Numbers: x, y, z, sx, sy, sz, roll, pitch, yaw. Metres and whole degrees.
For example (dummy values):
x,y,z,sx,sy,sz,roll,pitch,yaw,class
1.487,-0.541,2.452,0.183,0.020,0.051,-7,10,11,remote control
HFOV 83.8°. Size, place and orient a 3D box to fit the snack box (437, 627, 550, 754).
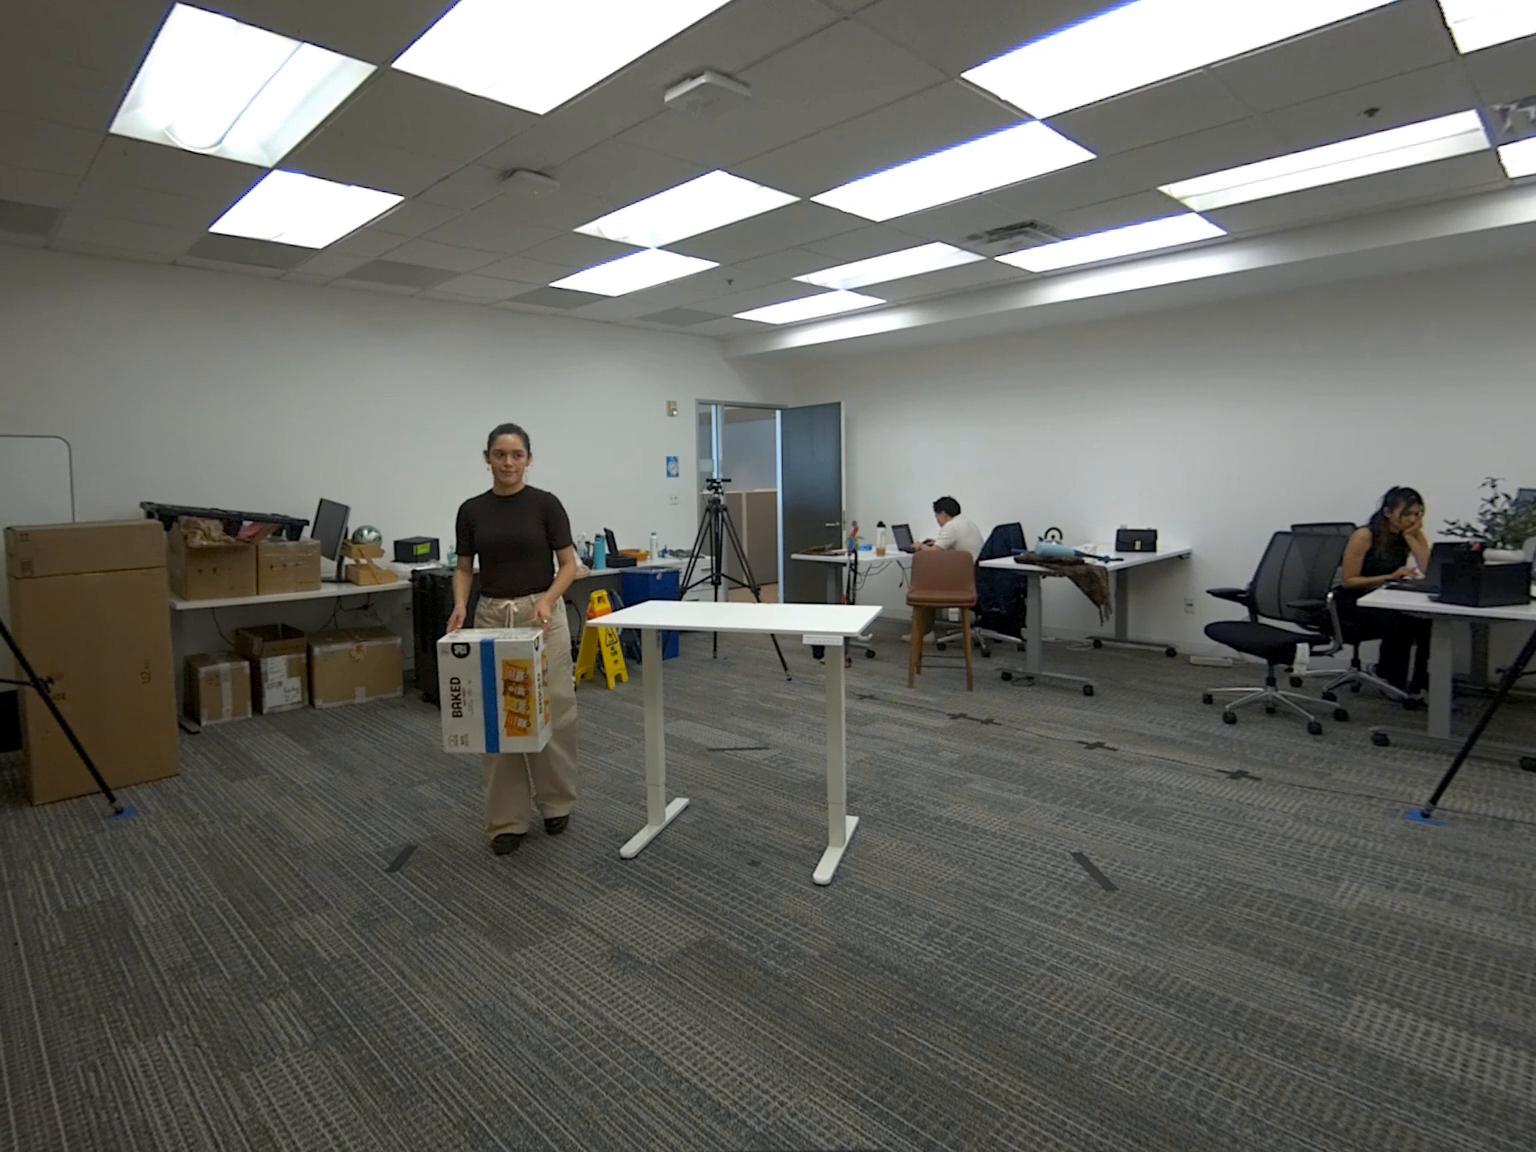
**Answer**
x,y,z,sx,sy,sz,roll,pitch,yaw,class
-0.979,0.413,3.066,0.341,0.403,0.207,-3,6,1,snack box
